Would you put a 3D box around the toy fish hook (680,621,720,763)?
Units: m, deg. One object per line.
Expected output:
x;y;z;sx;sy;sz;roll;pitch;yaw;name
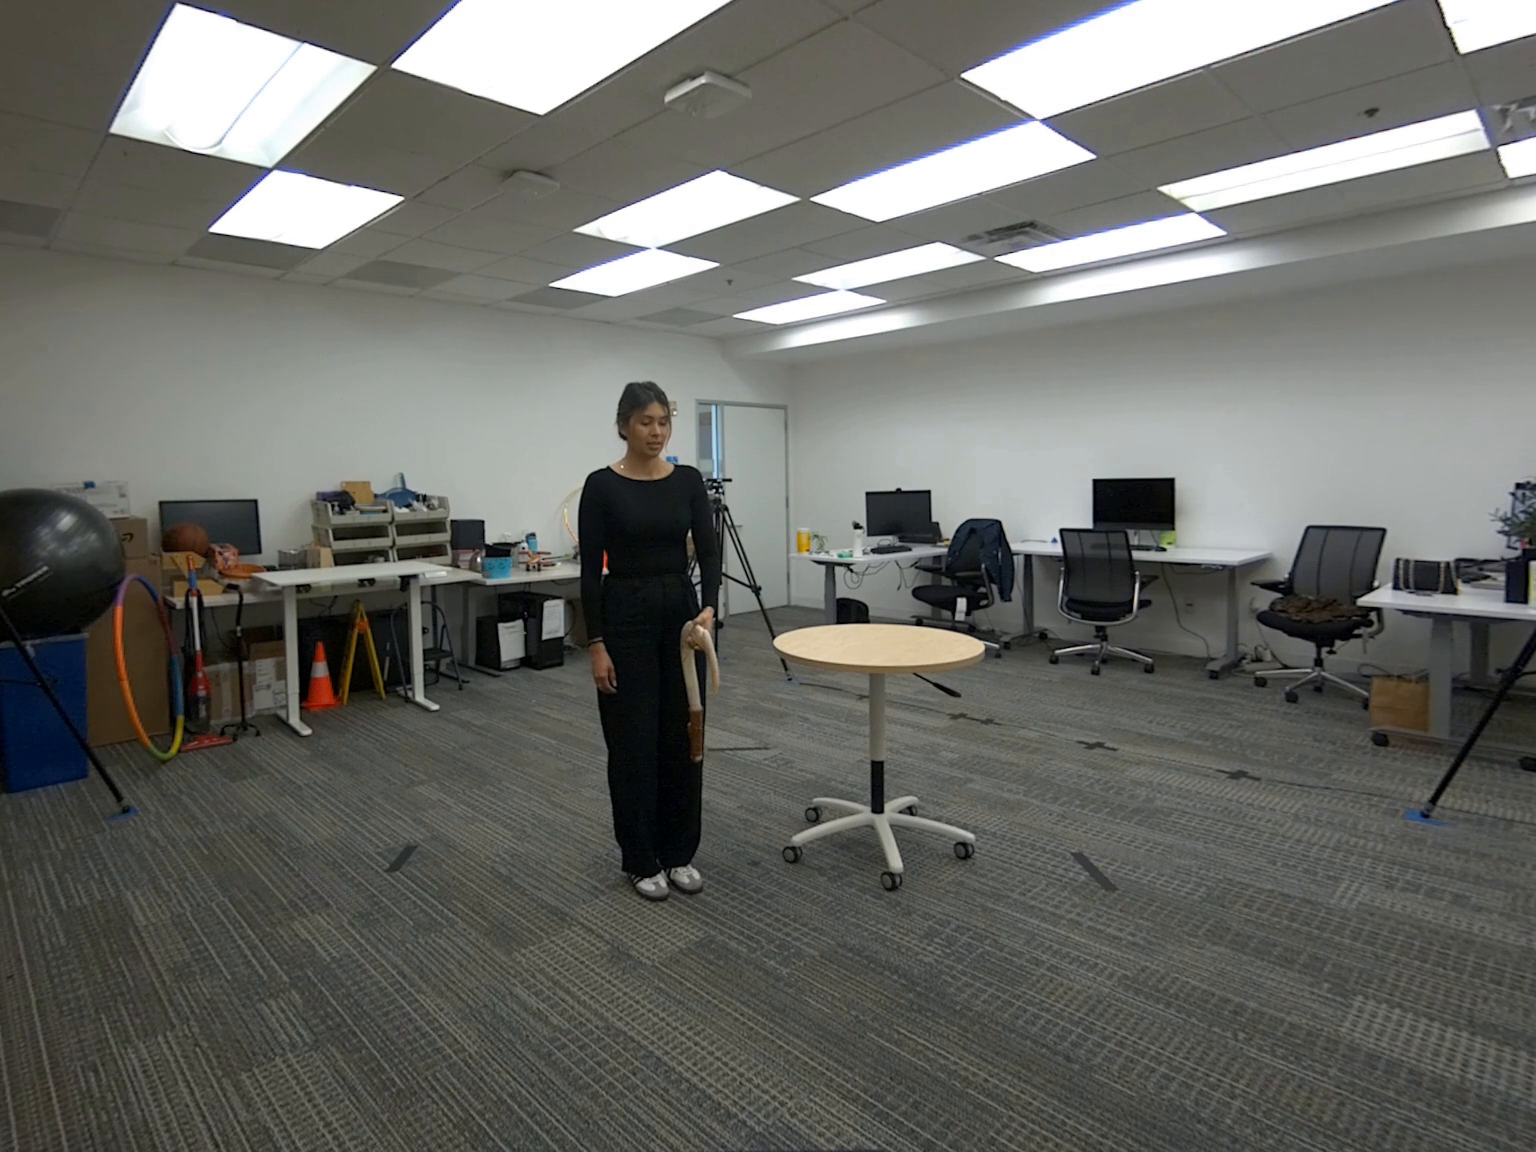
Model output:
-0.229;0.396;2.709;0.047;0.498;0.232;-7;21;-22;toy fish hook
